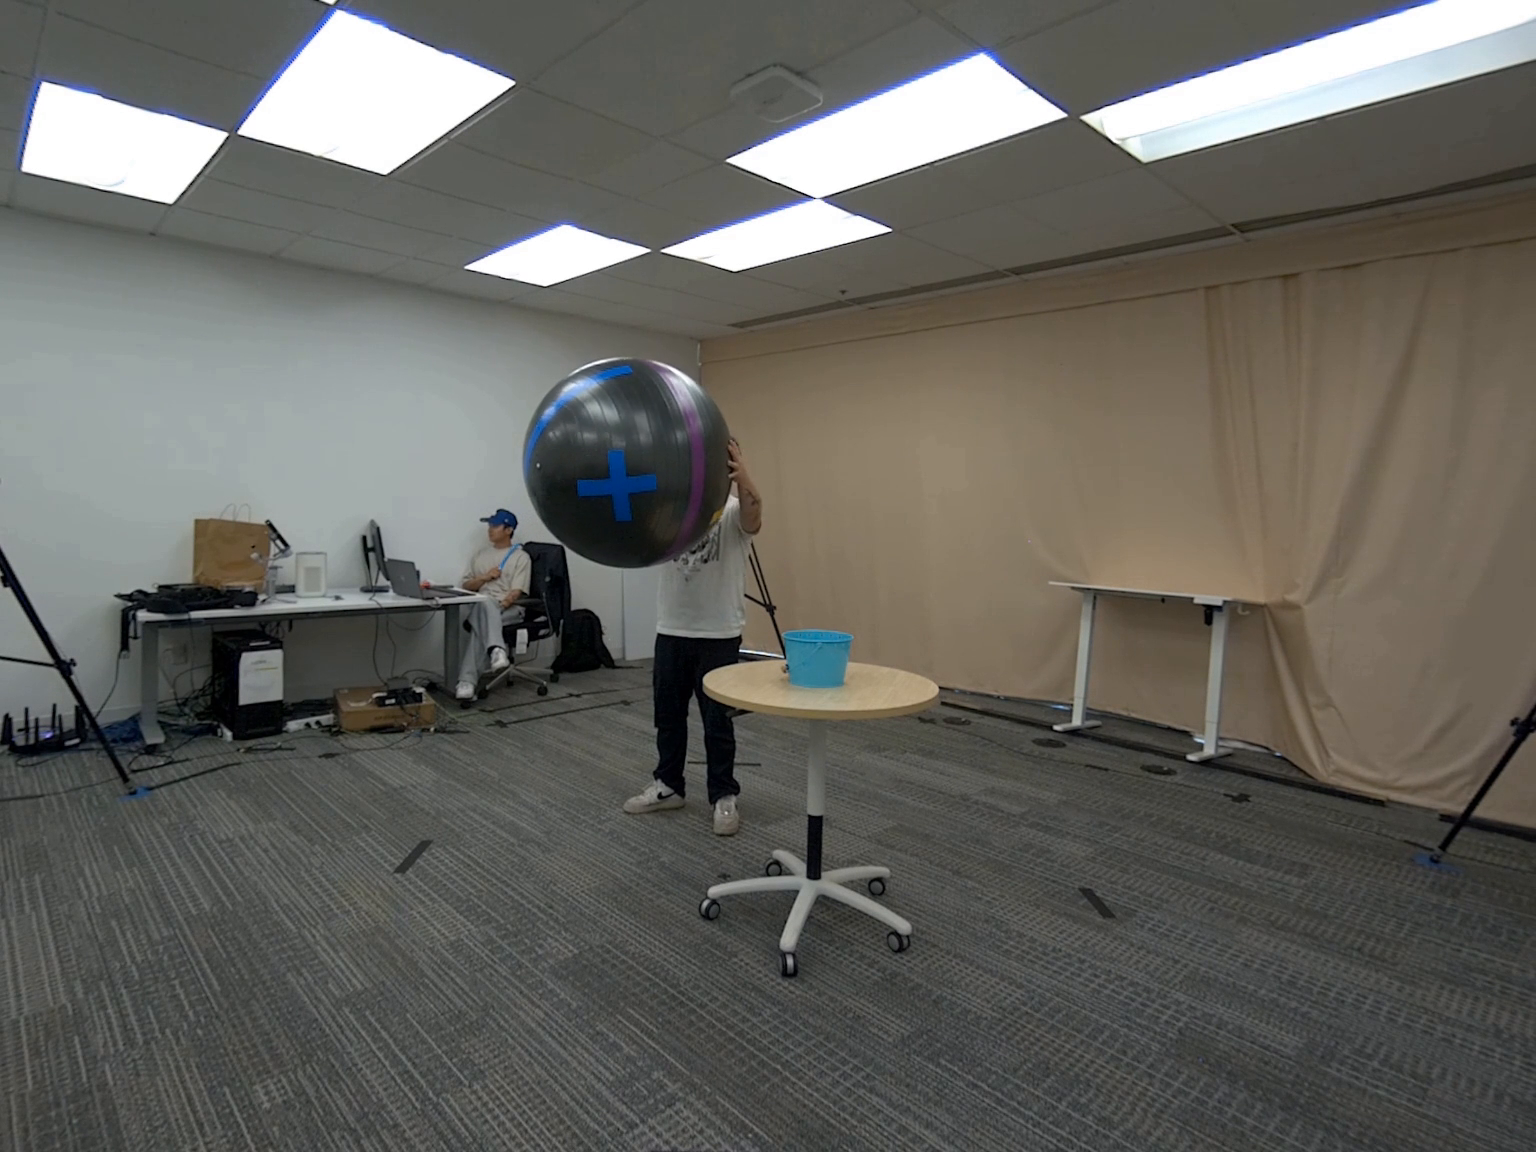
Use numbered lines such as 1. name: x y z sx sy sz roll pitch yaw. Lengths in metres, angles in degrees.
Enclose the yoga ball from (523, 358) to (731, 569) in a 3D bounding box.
1. yoga ball: -0.504 -0.395 3.054 0.757 0.756 0.761 1 4 -1
